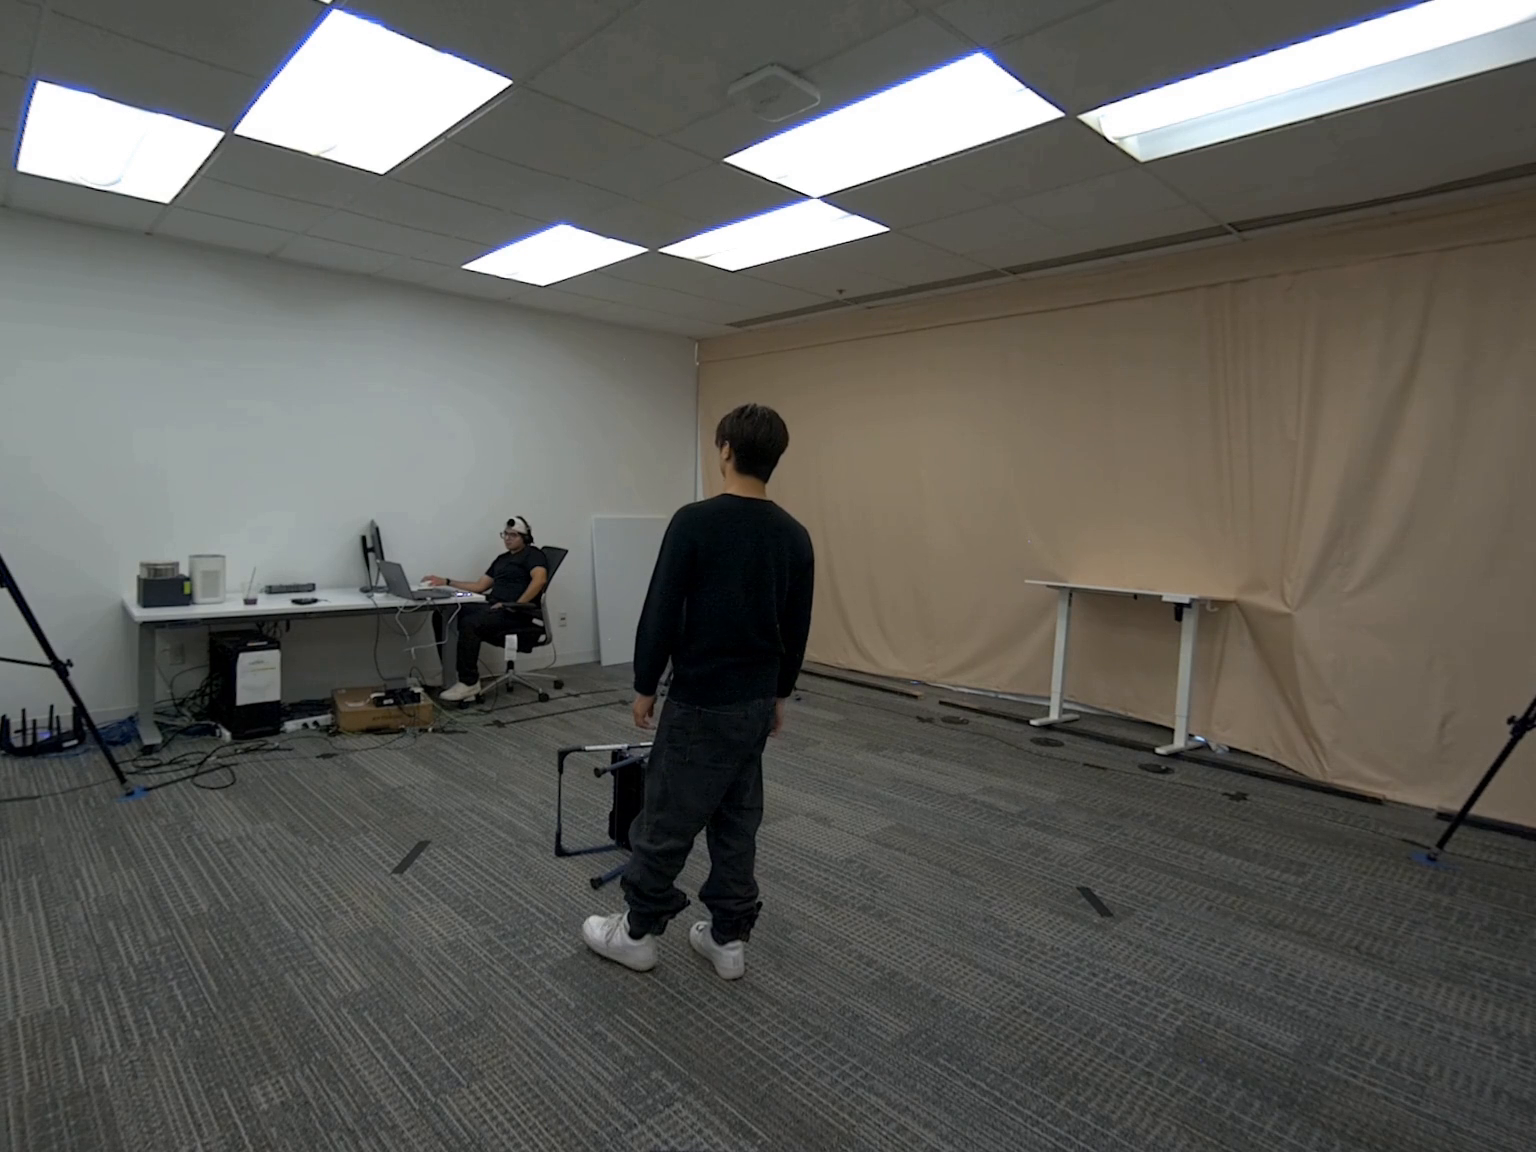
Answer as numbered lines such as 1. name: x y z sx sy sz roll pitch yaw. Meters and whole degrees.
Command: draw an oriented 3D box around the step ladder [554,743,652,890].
1. step ladder: -0.489 0.880 3.276 0.592 0.430 0.358 0 4 -39
